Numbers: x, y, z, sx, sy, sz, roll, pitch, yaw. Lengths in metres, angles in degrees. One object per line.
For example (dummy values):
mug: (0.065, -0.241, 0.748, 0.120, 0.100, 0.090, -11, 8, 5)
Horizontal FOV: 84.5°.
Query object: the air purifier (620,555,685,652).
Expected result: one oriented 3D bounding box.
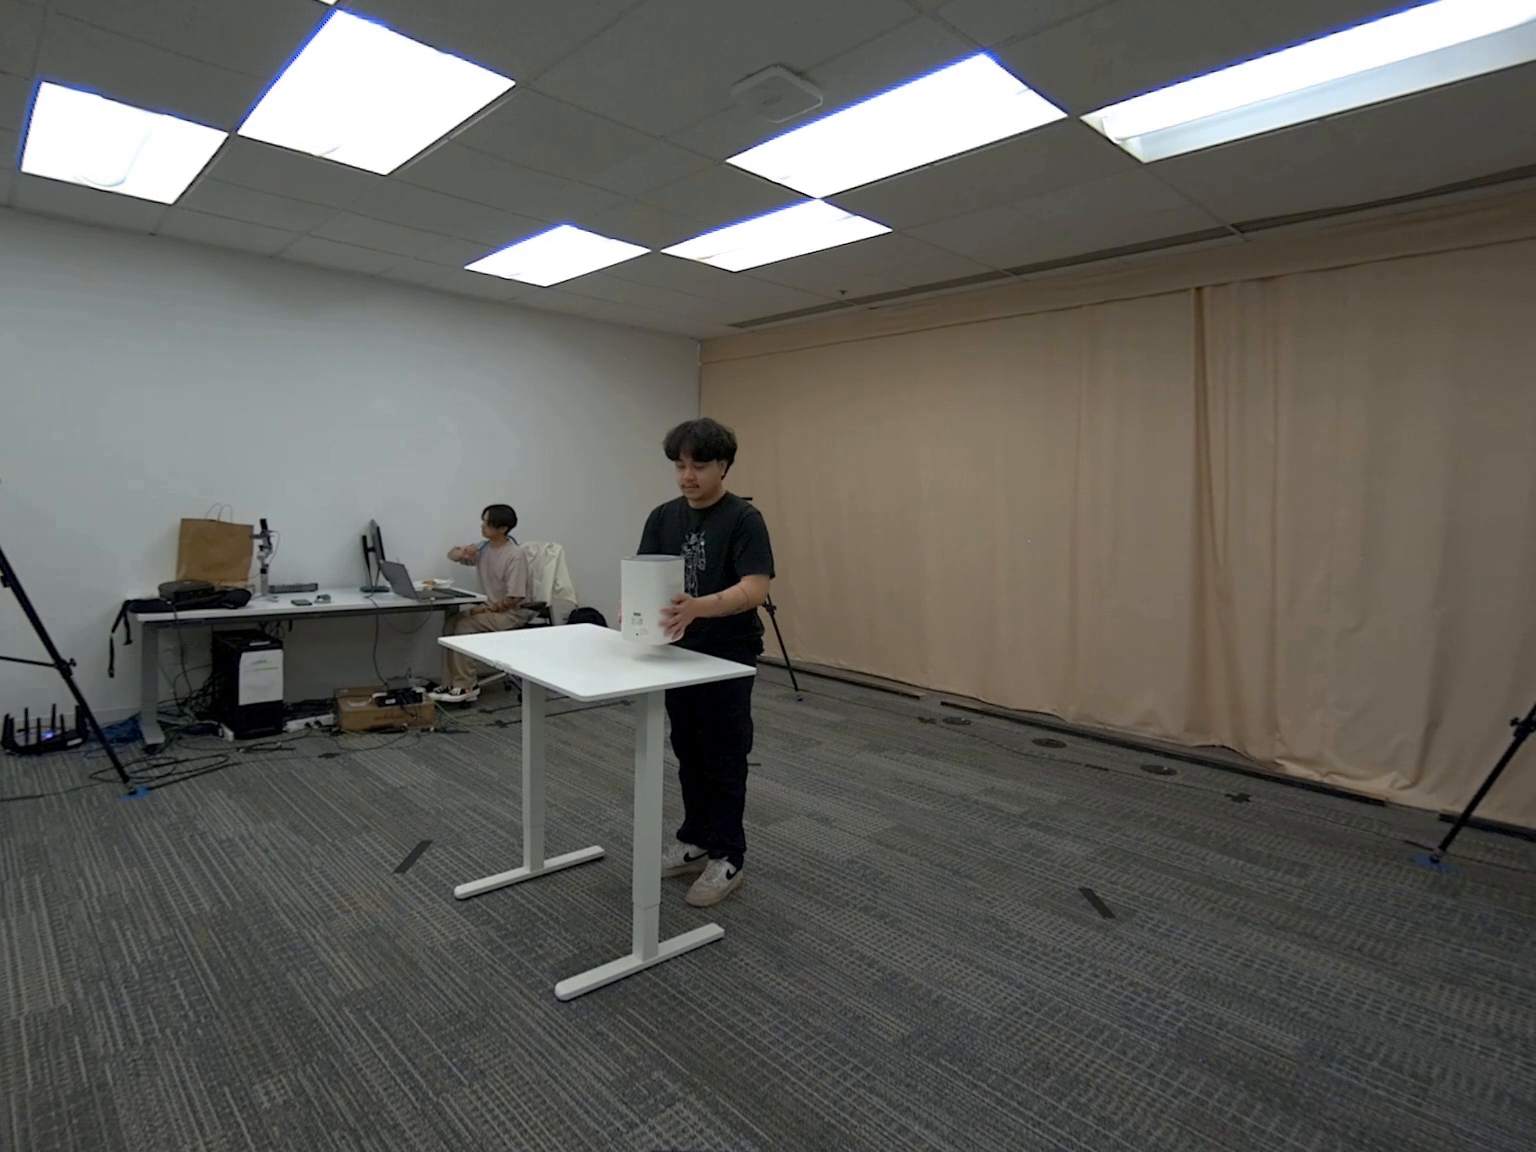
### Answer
air purifier: (-0.373, 0.074, 2.637, 0.174, 0.265, 0.169, 1, 4, 27)
